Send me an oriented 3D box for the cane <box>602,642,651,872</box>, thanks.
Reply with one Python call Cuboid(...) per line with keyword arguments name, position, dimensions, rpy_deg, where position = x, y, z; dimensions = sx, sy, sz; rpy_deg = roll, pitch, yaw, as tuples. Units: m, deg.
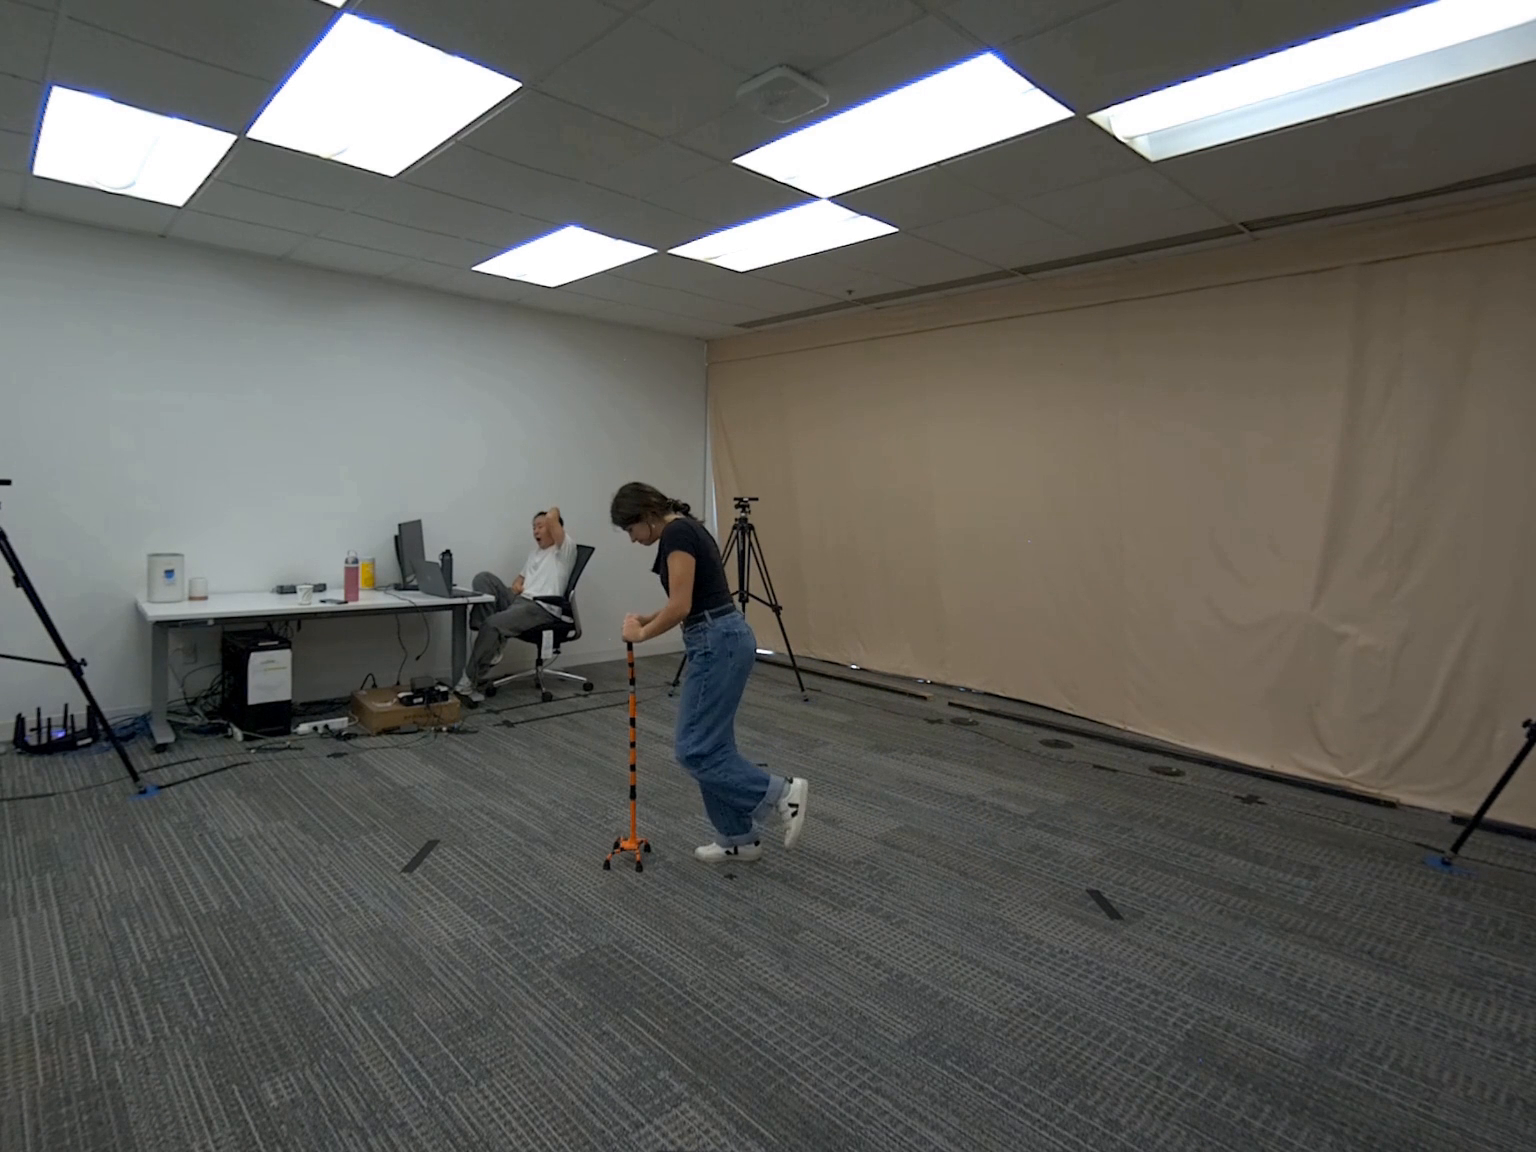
Cuboid(name="cane", position=(-0.532, 0.633, 3.205), dimensions=(0.152, 0.906, 0.206), rpy_deg=(1, 3, 2))
